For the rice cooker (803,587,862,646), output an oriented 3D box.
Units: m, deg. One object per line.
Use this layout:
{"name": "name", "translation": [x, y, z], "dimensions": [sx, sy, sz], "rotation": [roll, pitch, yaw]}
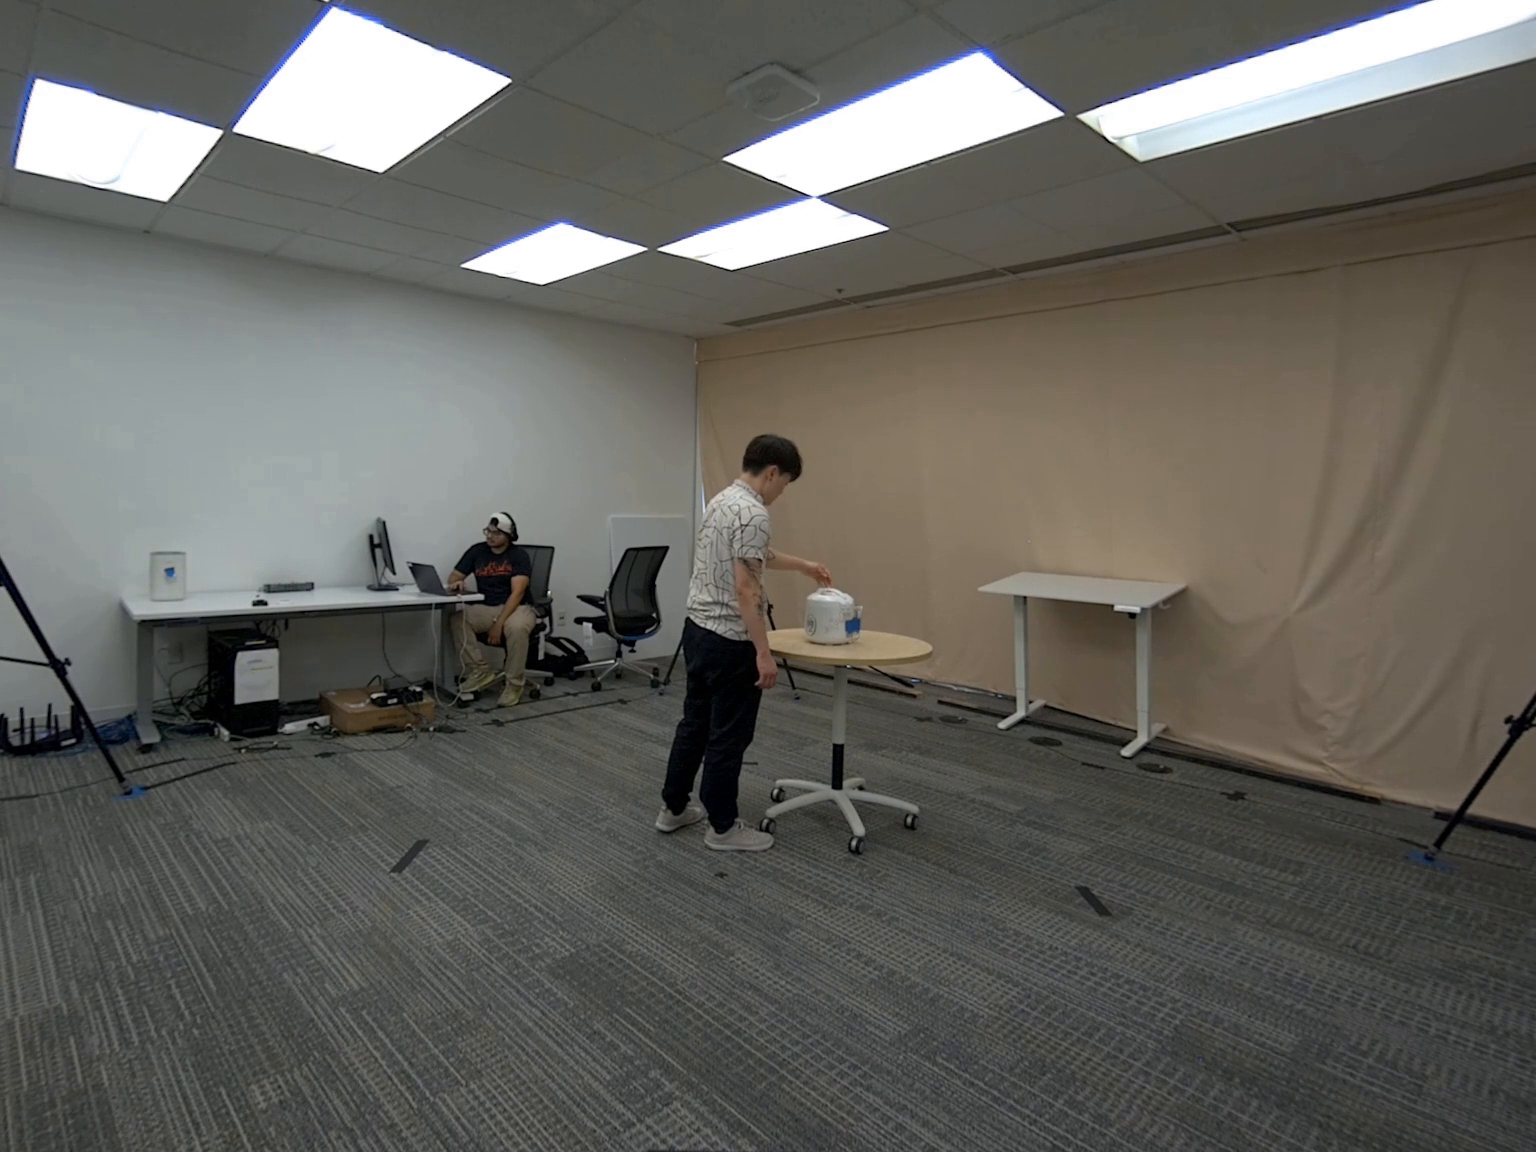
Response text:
{"name": "rice cooker", "translation": [0.255, 0.168, 3.628], "dimensions": [0.212, 0.232, 0.226], "rotation": [0, 3, -38]}
